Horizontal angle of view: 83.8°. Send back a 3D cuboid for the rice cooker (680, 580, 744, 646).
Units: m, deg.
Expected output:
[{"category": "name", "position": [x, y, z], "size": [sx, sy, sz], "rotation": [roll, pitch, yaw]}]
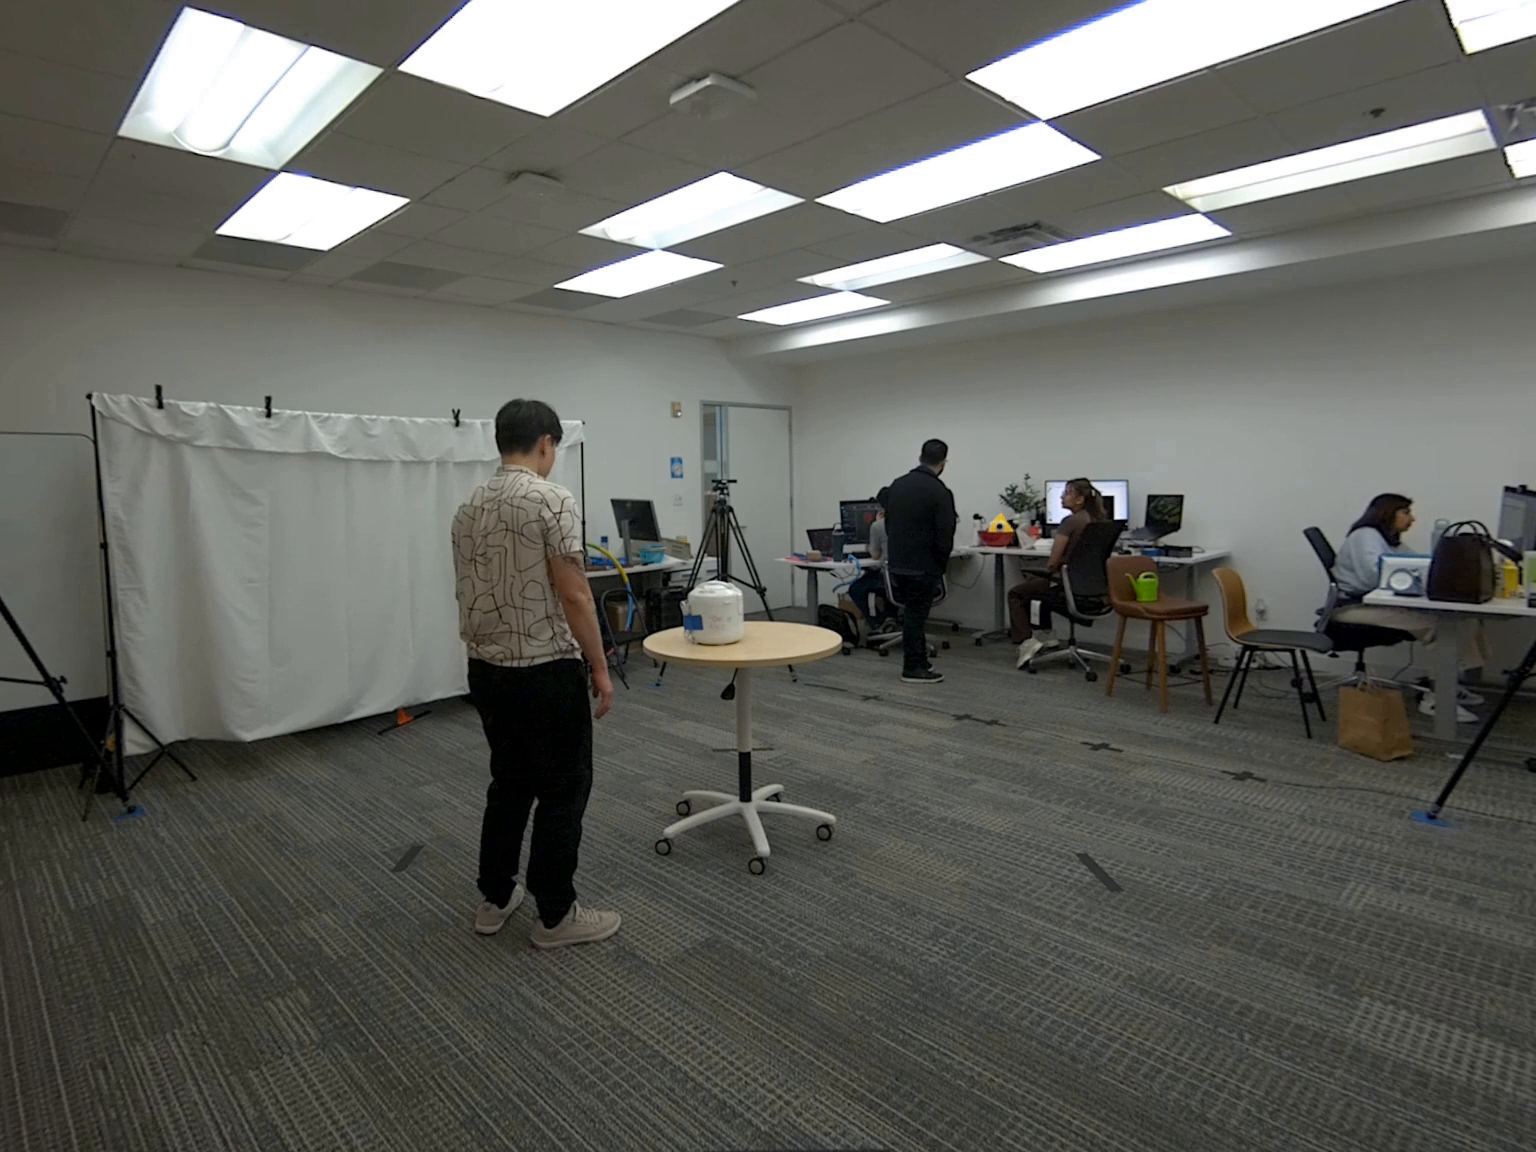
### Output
[{"category": "rice cooker", "position": [-0.195, 0.134, 3.271], "size": [0.226, 0.232, 0.213], "rotation": [1, 6, 26]}]
